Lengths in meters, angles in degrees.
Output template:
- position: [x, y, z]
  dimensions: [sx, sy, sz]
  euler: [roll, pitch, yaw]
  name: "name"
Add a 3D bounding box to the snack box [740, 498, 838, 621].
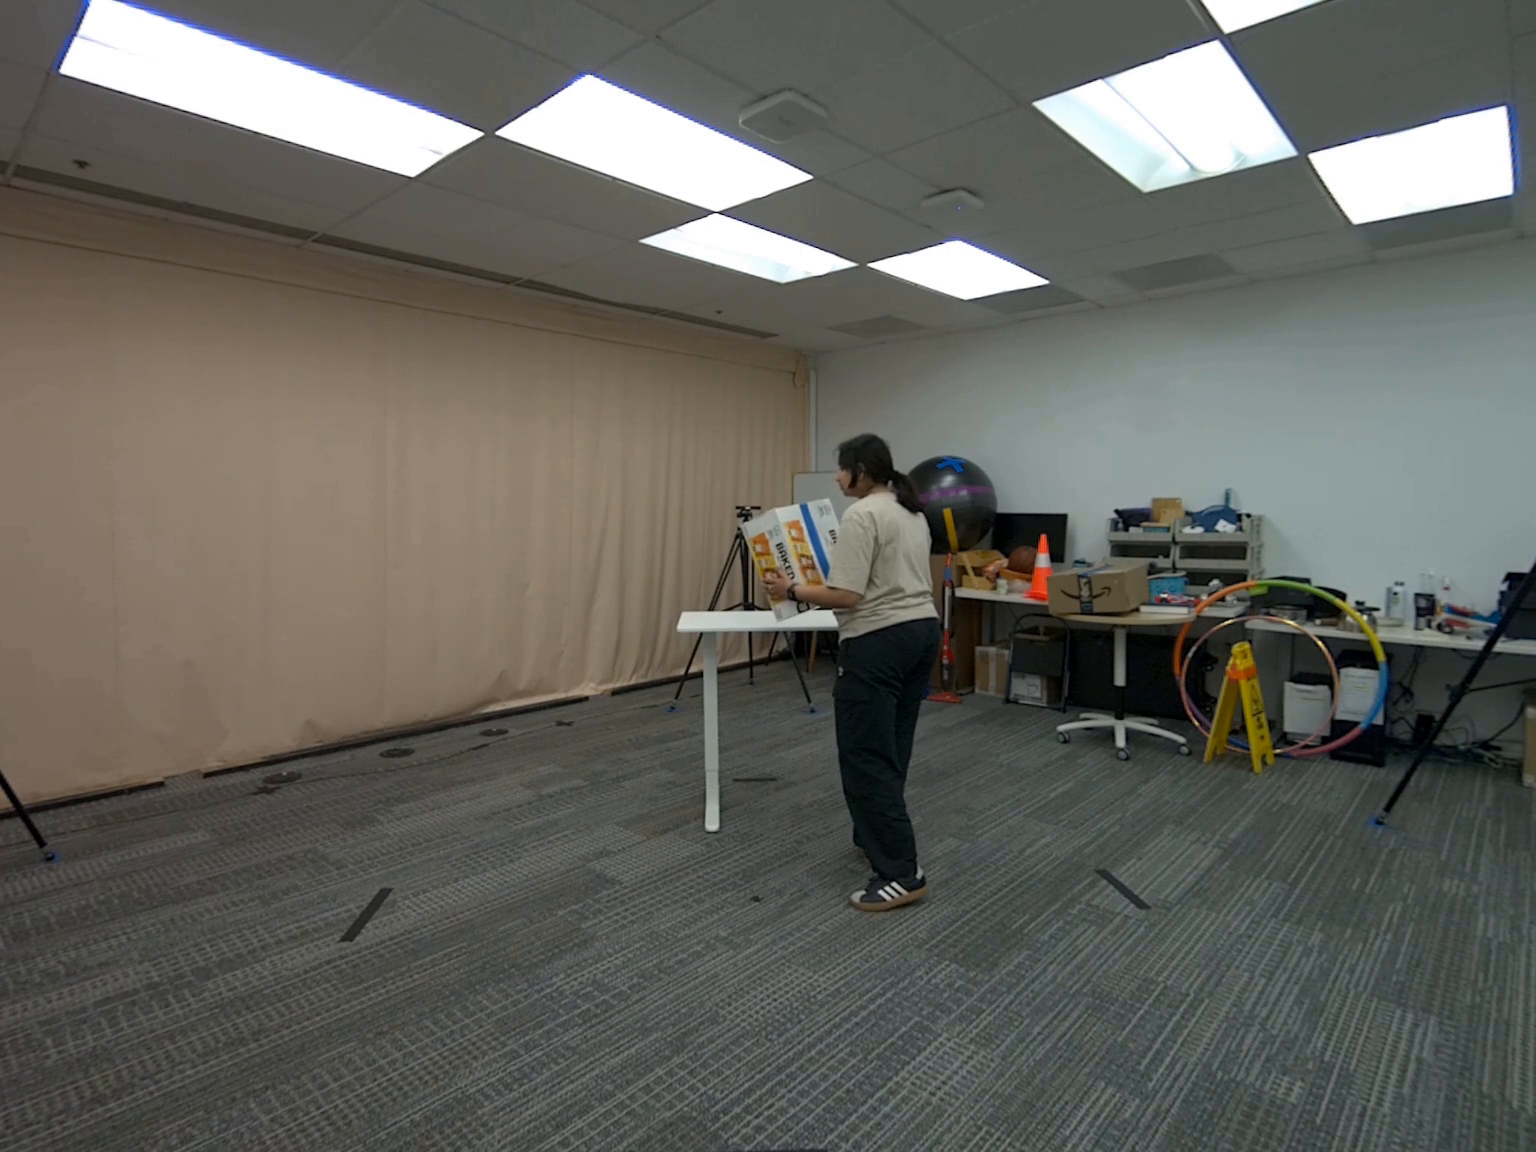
- position: [0.140, -0.067, 3.343]
  dimensions: [0.331, 0.408, 0.210]
  euler: [-14, -8, -45]
  name: "snack box"
